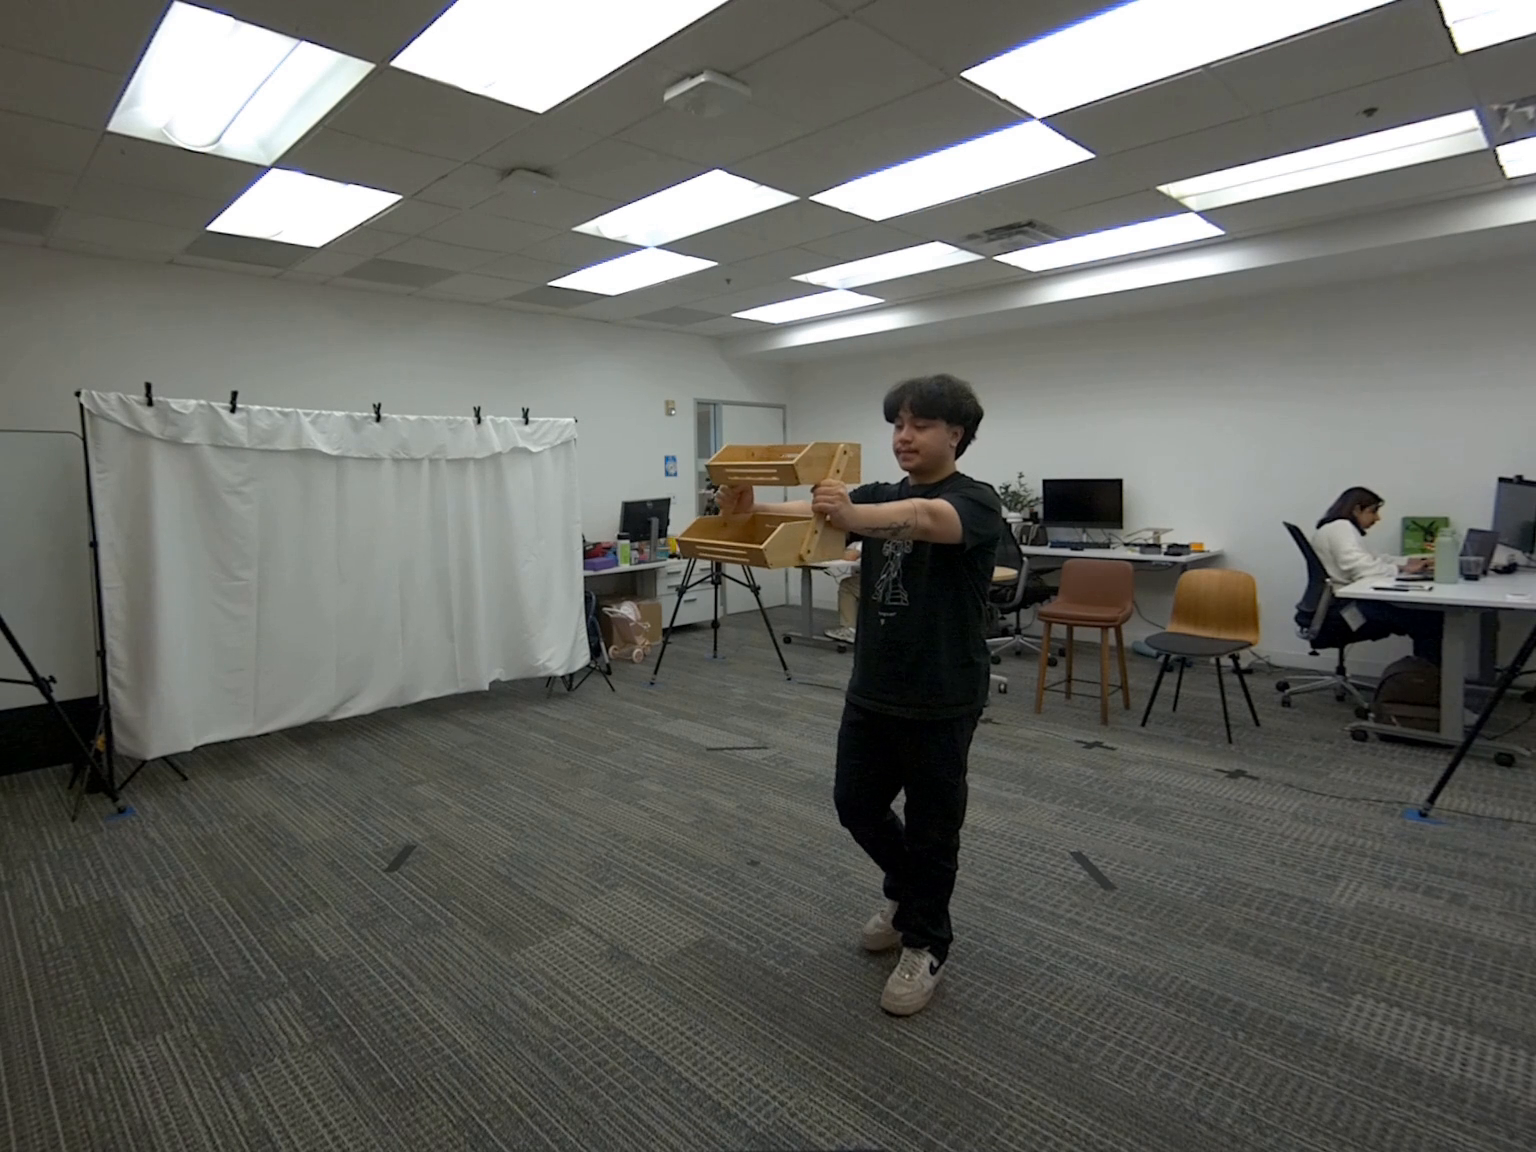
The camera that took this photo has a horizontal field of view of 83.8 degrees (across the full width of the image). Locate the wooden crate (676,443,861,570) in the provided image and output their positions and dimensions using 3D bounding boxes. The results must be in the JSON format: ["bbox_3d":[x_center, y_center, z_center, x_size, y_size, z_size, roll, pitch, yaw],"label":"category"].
[{"bbox_3d":[-0.002,-0.177,1.945,0.294,0.272,0.335,-5,8,-42],"label":"wooden crate"}]
